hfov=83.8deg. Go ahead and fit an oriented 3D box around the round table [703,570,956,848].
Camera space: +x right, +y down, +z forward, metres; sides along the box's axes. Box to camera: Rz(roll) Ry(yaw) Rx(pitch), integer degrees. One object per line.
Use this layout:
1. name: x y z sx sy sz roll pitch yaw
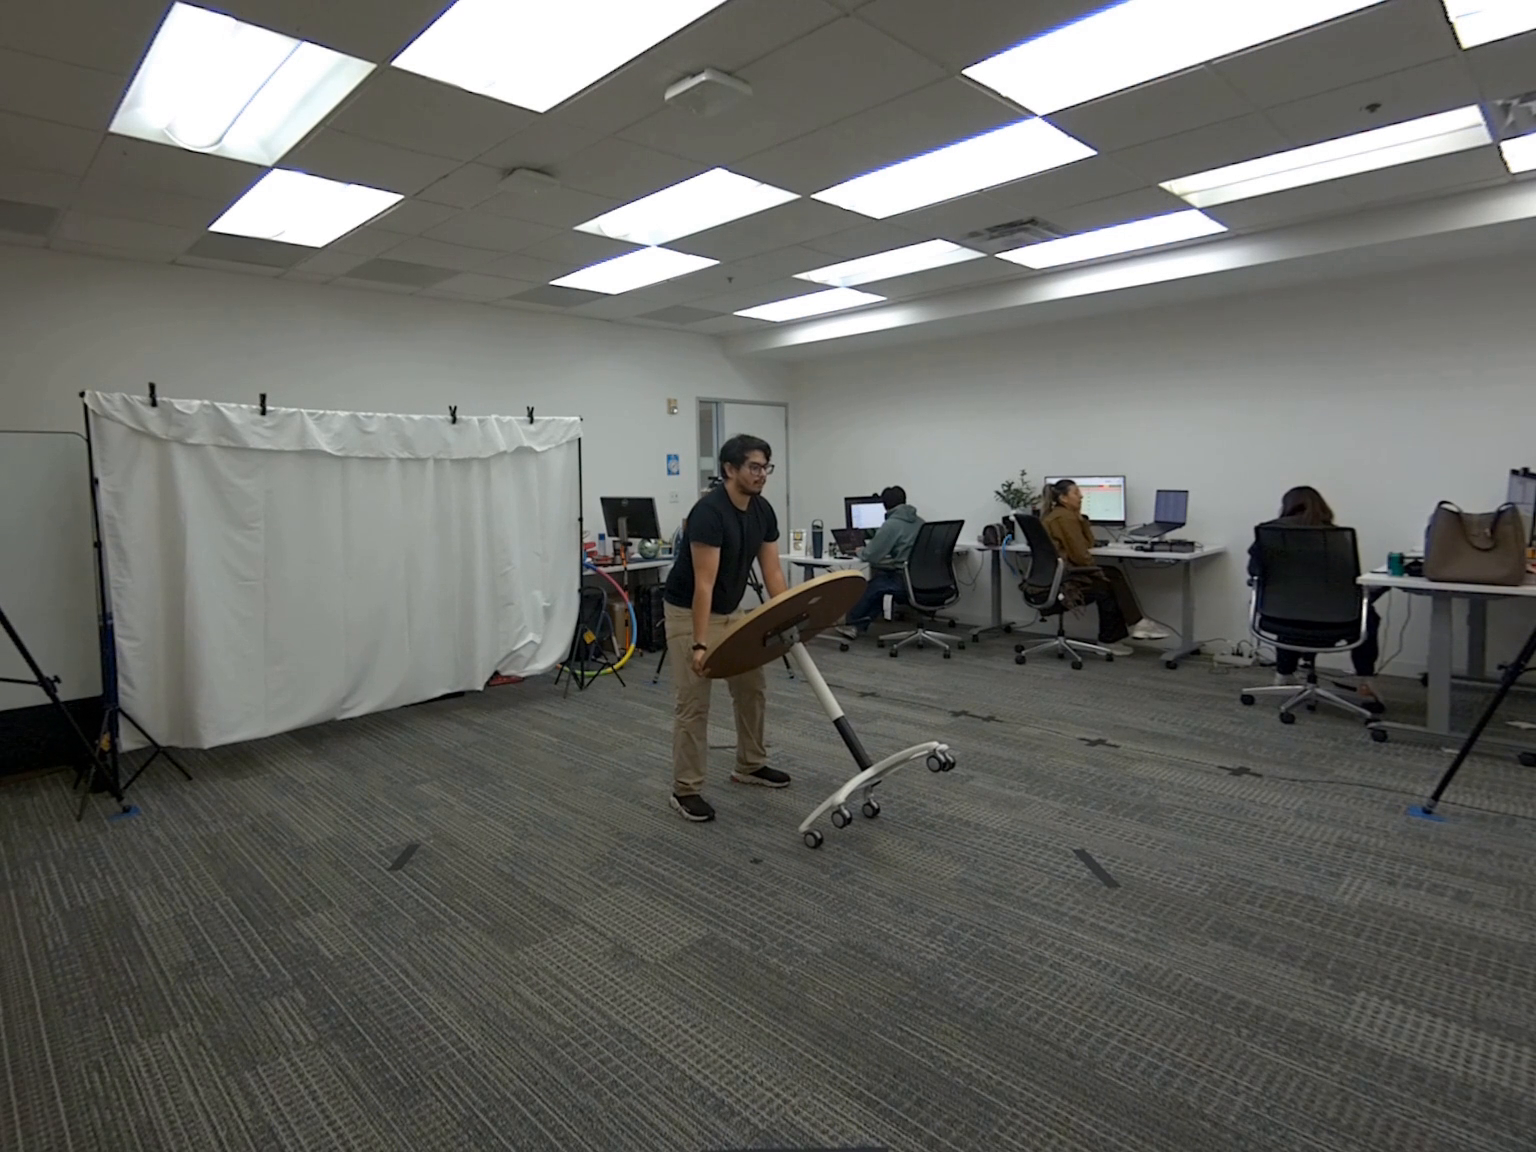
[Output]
1. round table: 0.248 0.526 3.332 0.780 0.807 0.770 -26 -21 -12
